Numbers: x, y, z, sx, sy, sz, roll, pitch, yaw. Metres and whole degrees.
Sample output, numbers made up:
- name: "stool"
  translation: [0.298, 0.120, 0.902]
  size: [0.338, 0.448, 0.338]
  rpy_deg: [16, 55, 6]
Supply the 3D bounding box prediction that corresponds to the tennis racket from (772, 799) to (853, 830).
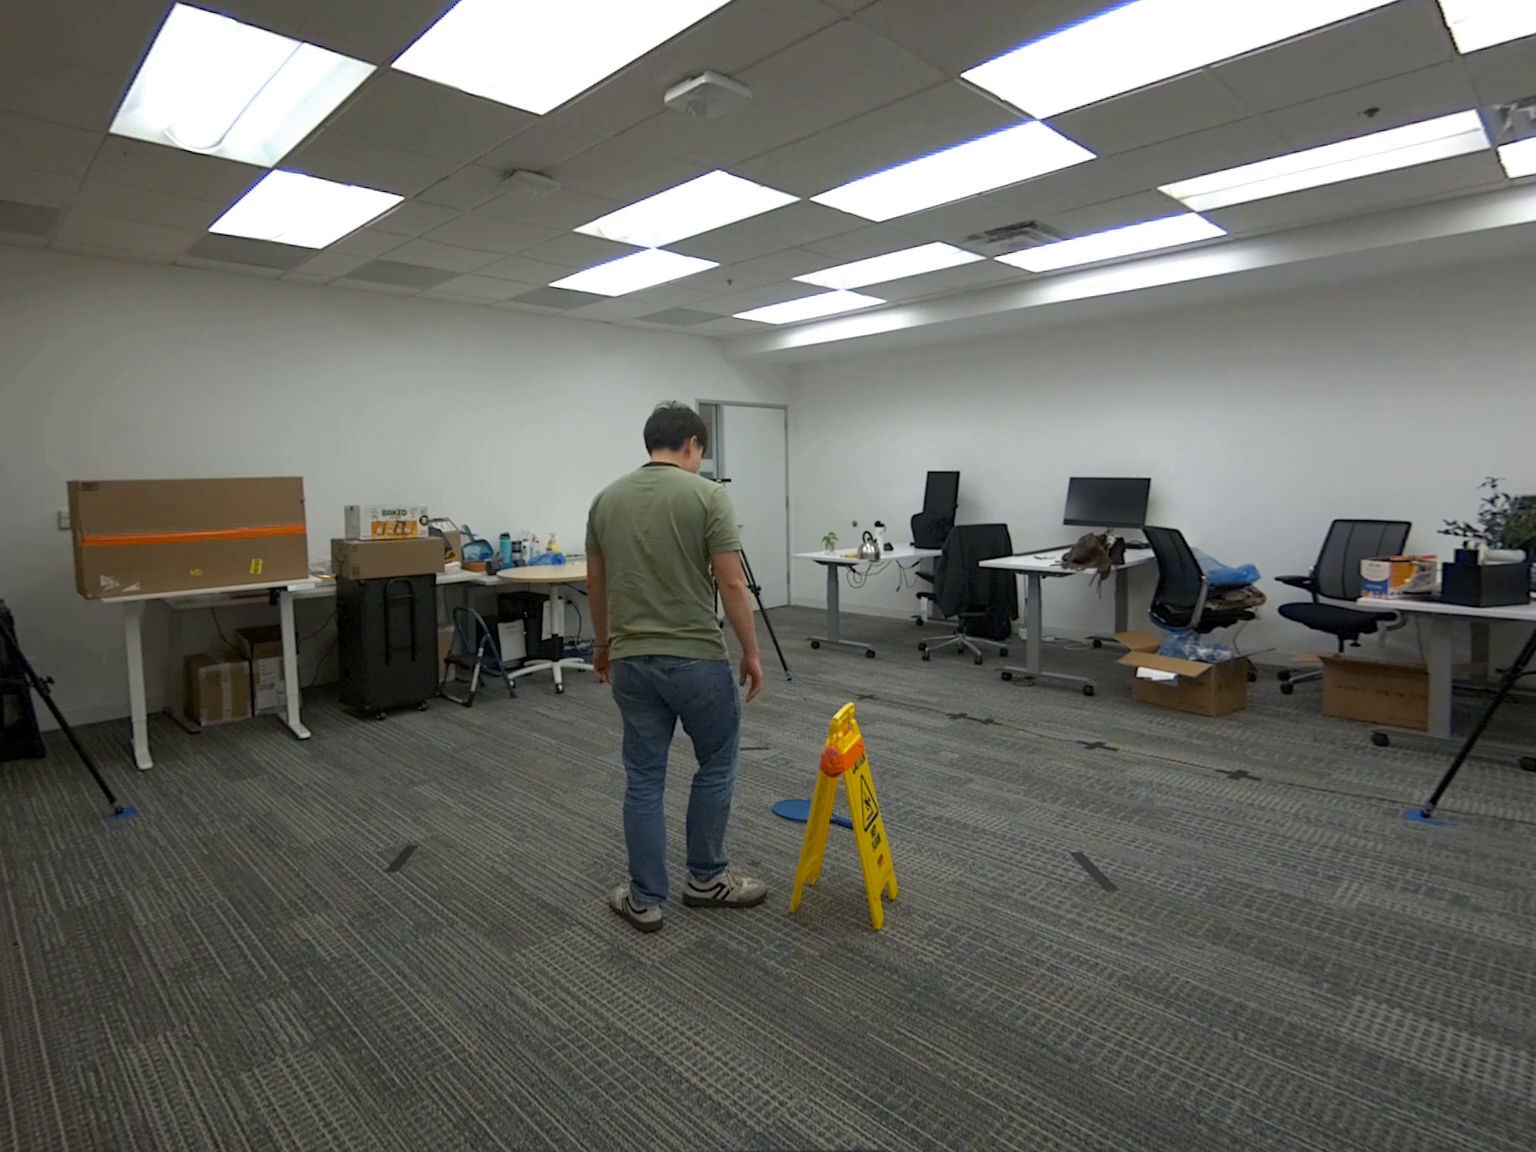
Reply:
- name: "tennis racket"
  translation: [0.206, 0.982, 3.517]
  size: [0.446, 0.031, 0.208]
  rpy_deg: [4, 8, 43]
